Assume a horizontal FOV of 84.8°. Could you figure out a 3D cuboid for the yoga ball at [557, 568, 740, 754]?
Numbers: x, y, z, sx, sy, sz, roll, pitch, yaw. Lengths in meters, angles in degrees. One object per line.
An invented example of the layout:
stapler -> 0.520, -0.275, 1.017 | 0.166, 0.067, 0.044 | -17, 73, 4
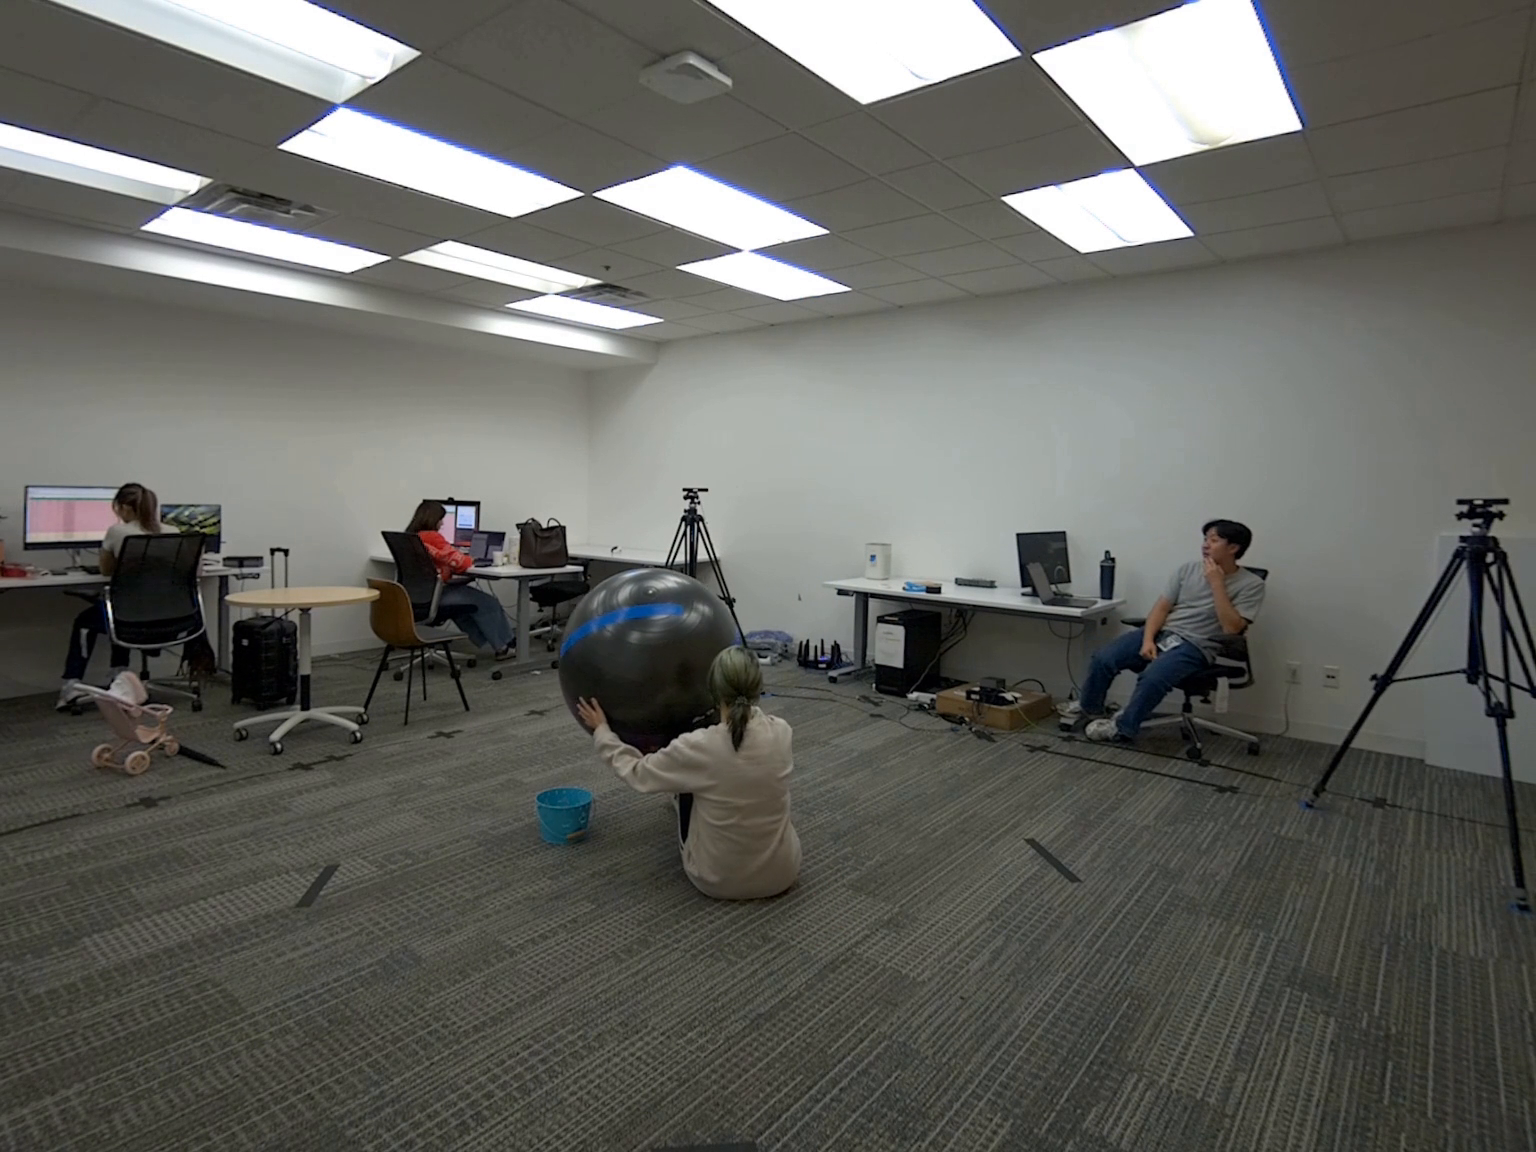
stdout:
yoga ball -> -0.488, 0.351, 3.476 | 0.757, 0.756, 0.761 | 1, 4, -2
